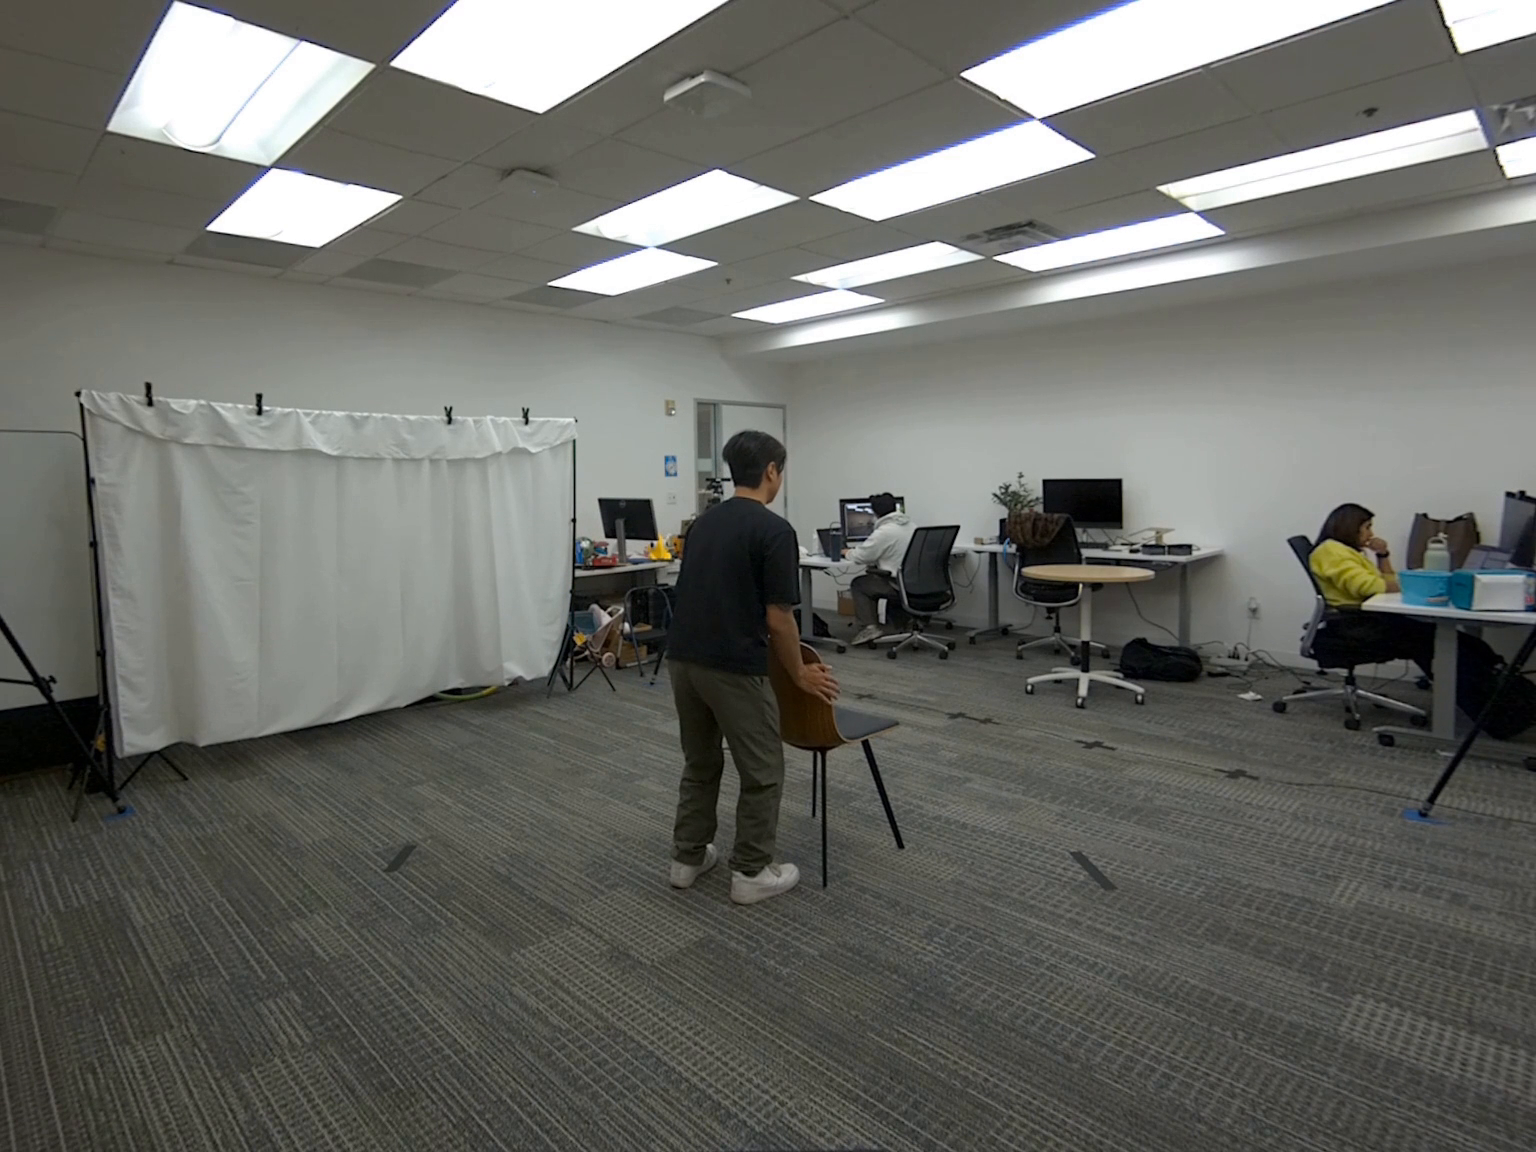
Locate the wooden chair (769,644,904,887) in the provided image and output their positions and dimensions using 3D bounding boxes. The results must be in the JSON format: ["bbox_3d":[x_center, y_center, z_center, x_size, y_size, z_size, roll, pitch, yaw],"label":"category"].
[{"bbox_3d":[0.193,0.597,3.196,0.511,0.872,0.492,-11,9,-43],"label":"wooden chair"}]
